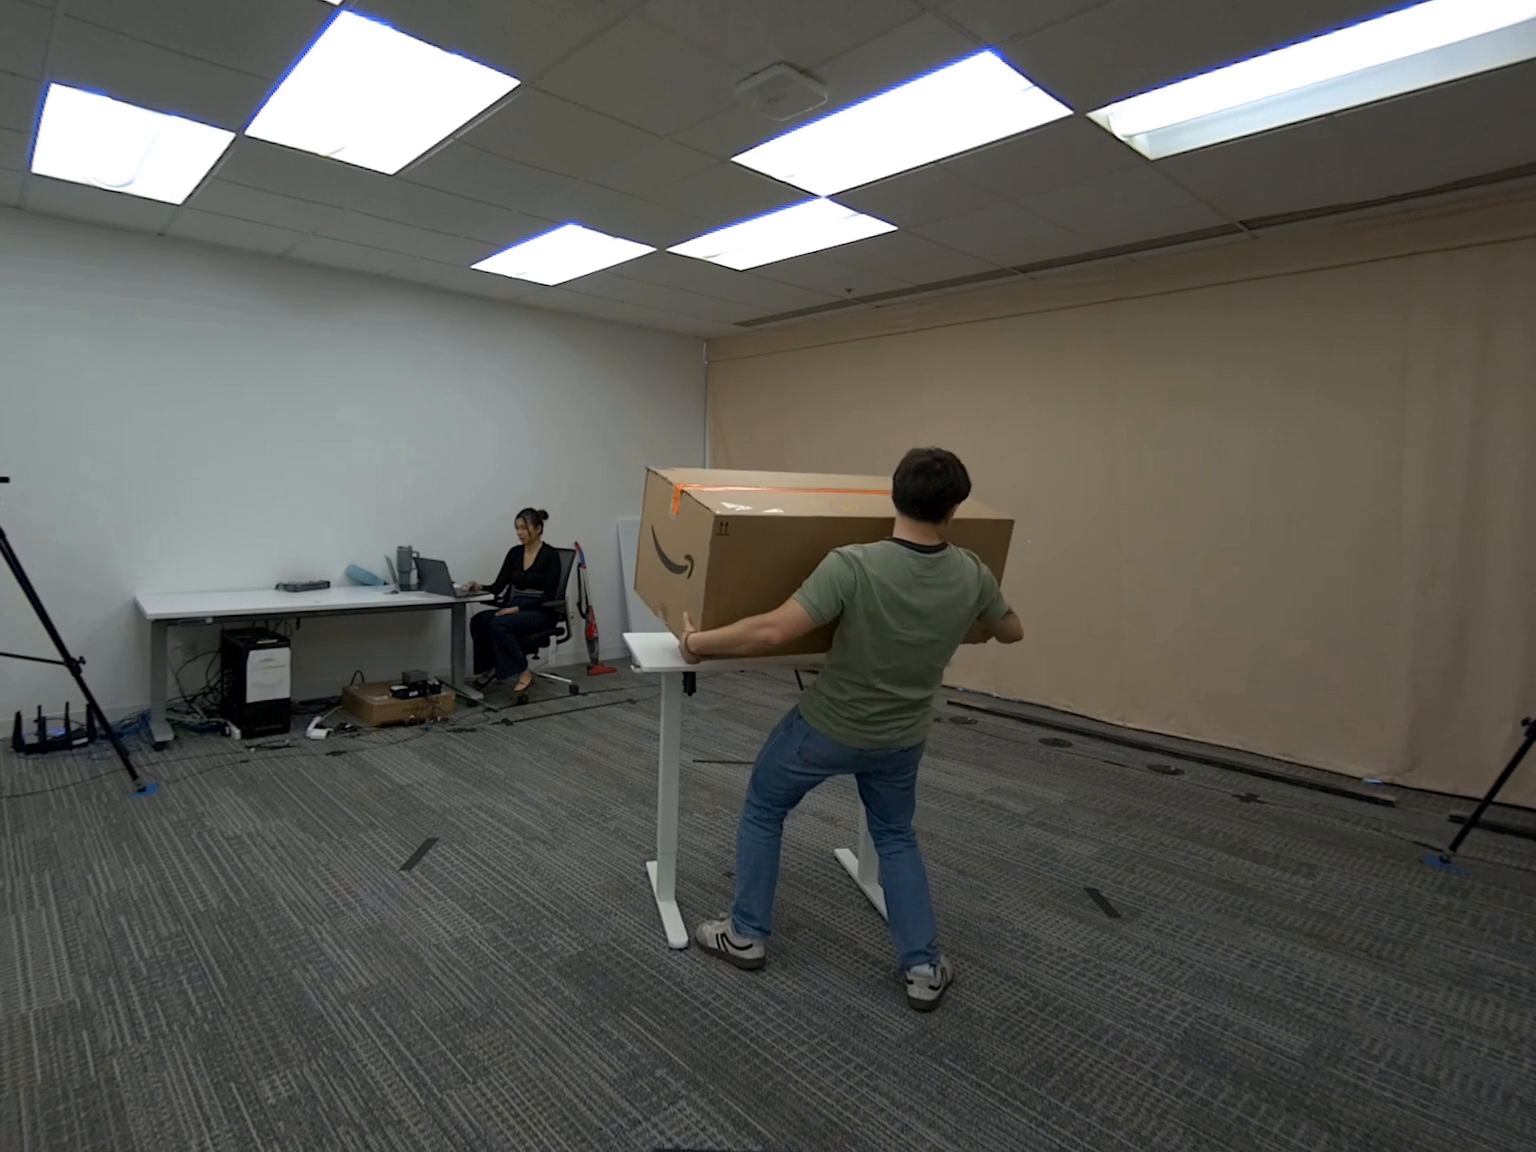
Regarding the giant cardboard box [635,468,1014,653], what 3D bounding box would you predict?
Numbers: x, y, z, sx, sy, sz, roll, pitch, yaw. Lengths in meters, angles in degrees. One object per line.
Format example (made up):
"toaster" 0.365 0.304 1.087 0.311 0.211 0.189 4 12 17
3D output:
"giant cardboard box" 0.158 -0.065 2.707 1.007 0.422 0.594 0 19 -25
